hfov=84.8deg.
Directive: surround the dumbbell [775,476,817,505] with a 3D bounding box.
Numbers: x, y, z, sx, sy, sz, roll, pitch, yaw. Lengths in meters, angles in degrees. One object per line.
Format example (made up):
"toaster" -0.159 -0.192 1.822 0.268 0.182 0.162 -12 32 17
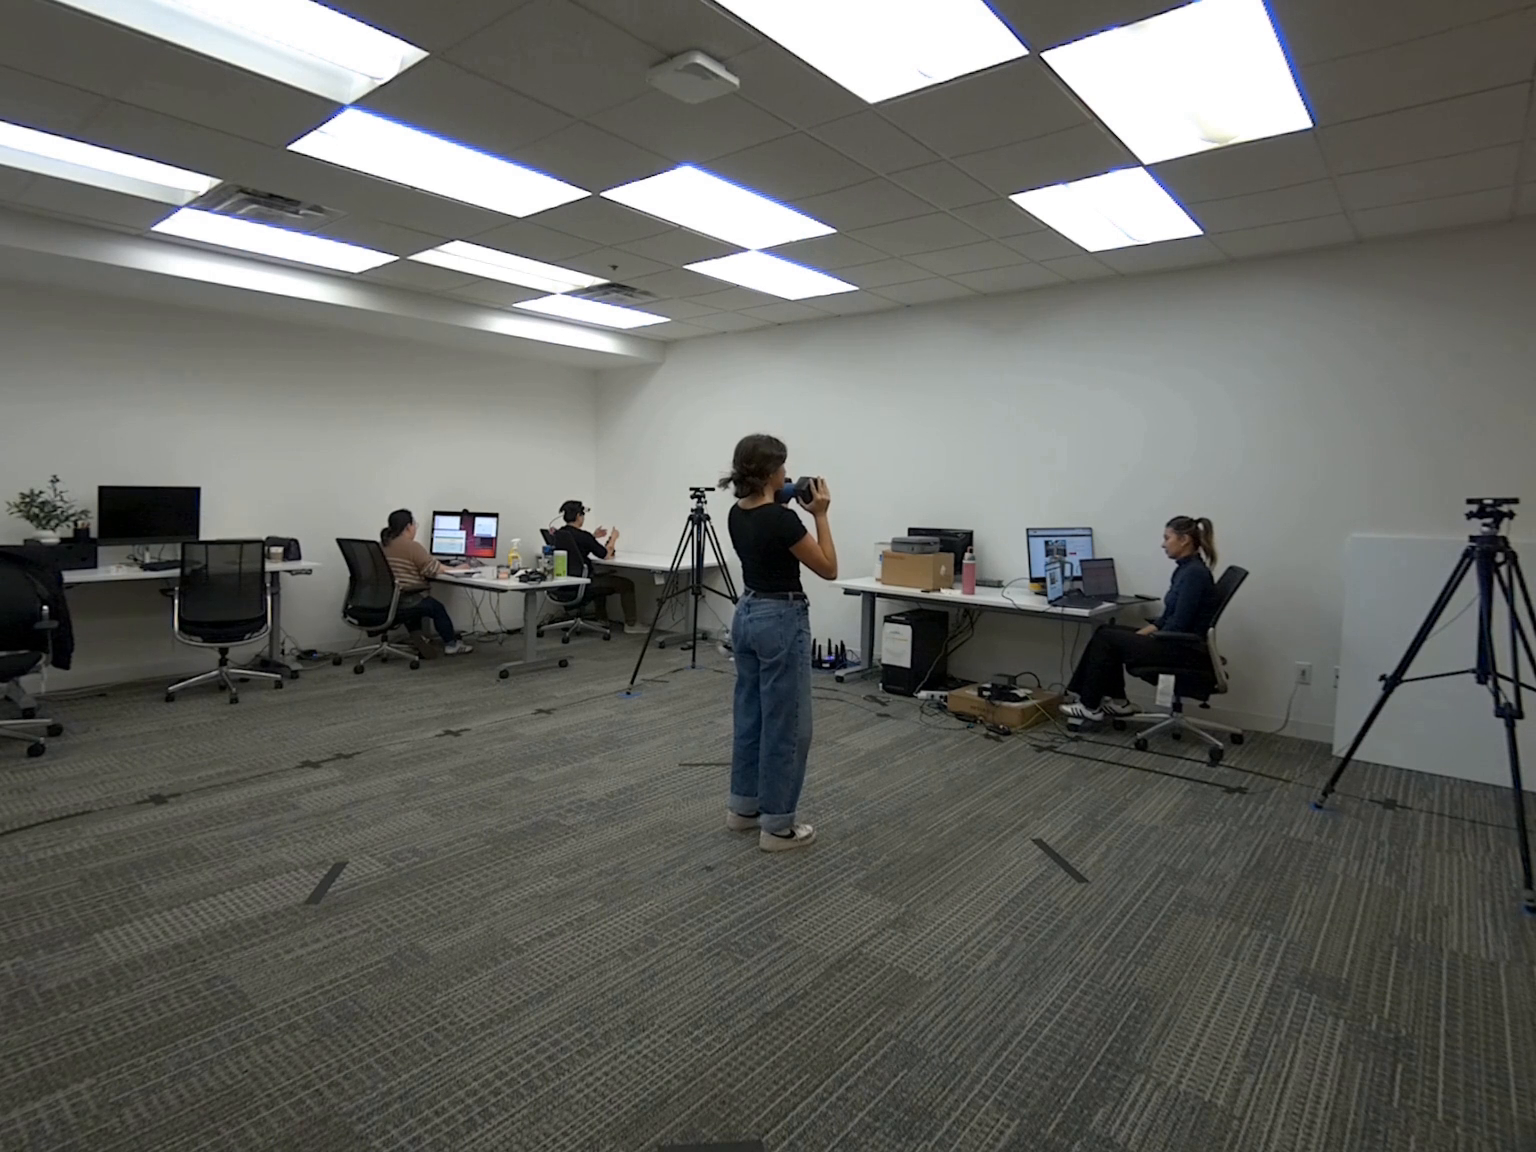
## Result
"dumbbell" 0.095 -0.348 3.392 0.105 0.123 0.303 39 -15 -29
